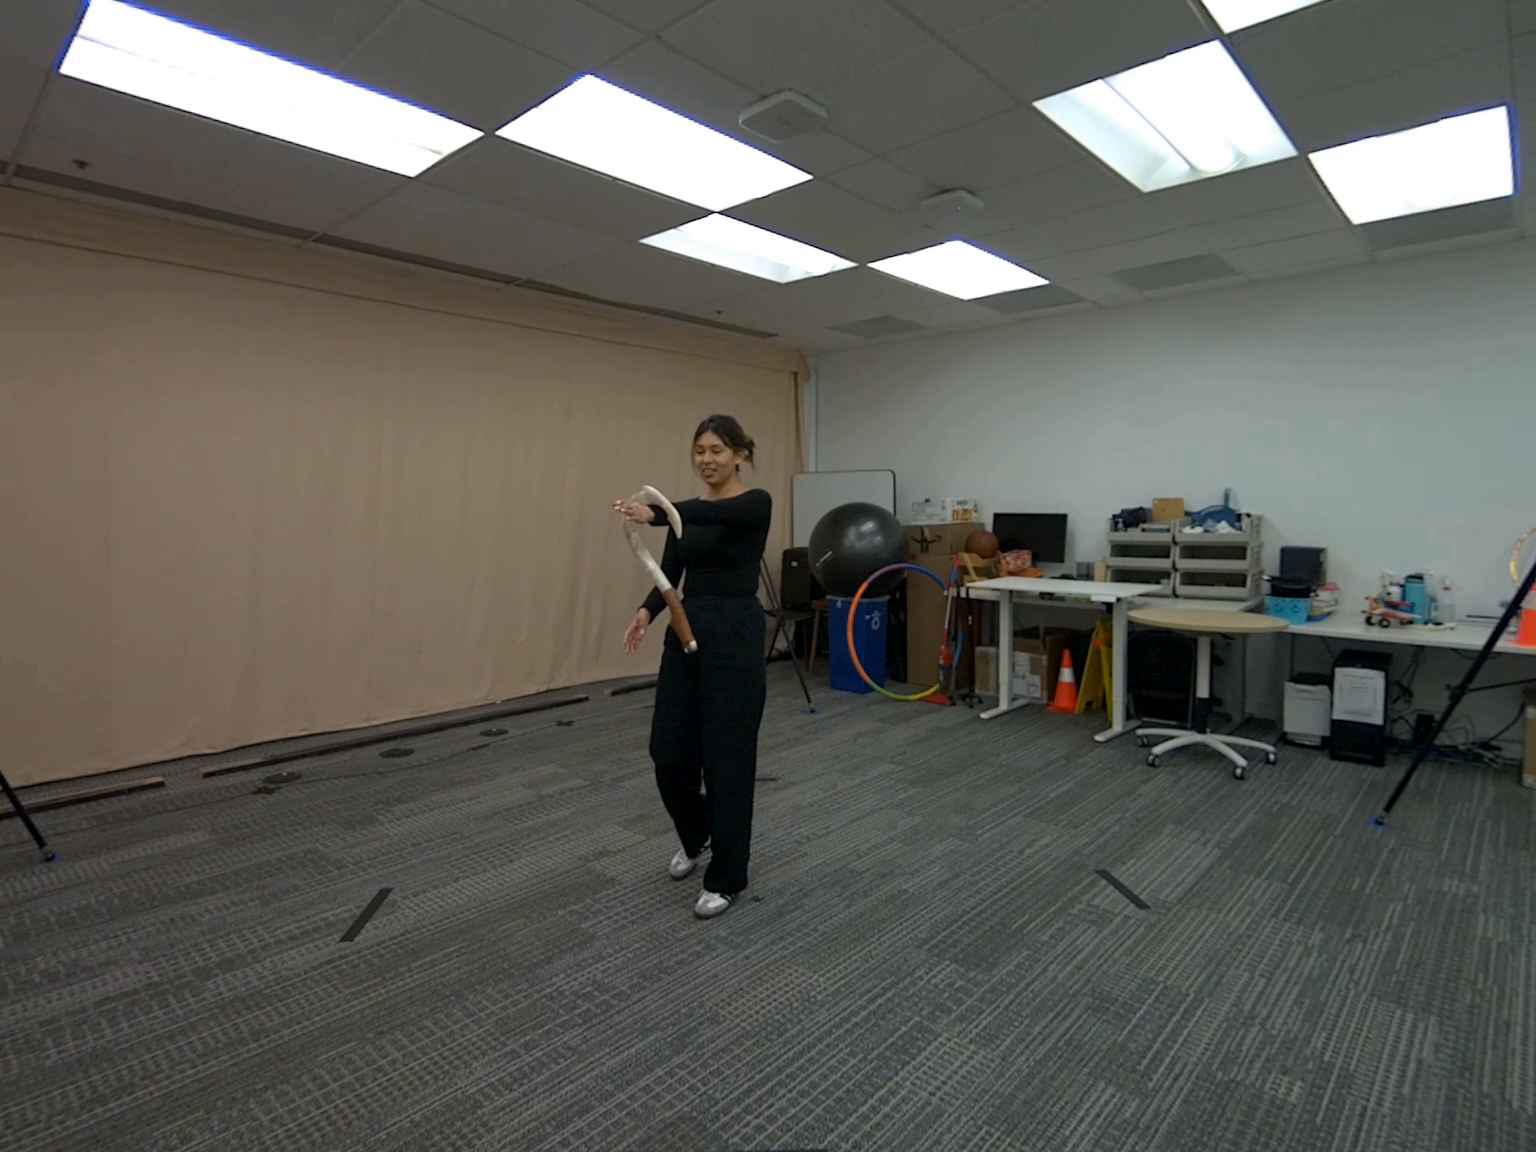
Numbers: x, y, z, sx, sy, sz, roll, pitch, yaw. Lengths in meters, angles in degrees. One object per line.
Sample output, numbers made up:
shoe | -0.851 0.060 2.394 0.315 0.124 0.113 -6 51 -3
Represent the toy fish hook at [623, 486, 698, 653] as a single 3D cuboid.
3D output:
toy fish hook | -0.299 -0.022 2.515 0.047 0.512 0.228 -13 -16 -47
